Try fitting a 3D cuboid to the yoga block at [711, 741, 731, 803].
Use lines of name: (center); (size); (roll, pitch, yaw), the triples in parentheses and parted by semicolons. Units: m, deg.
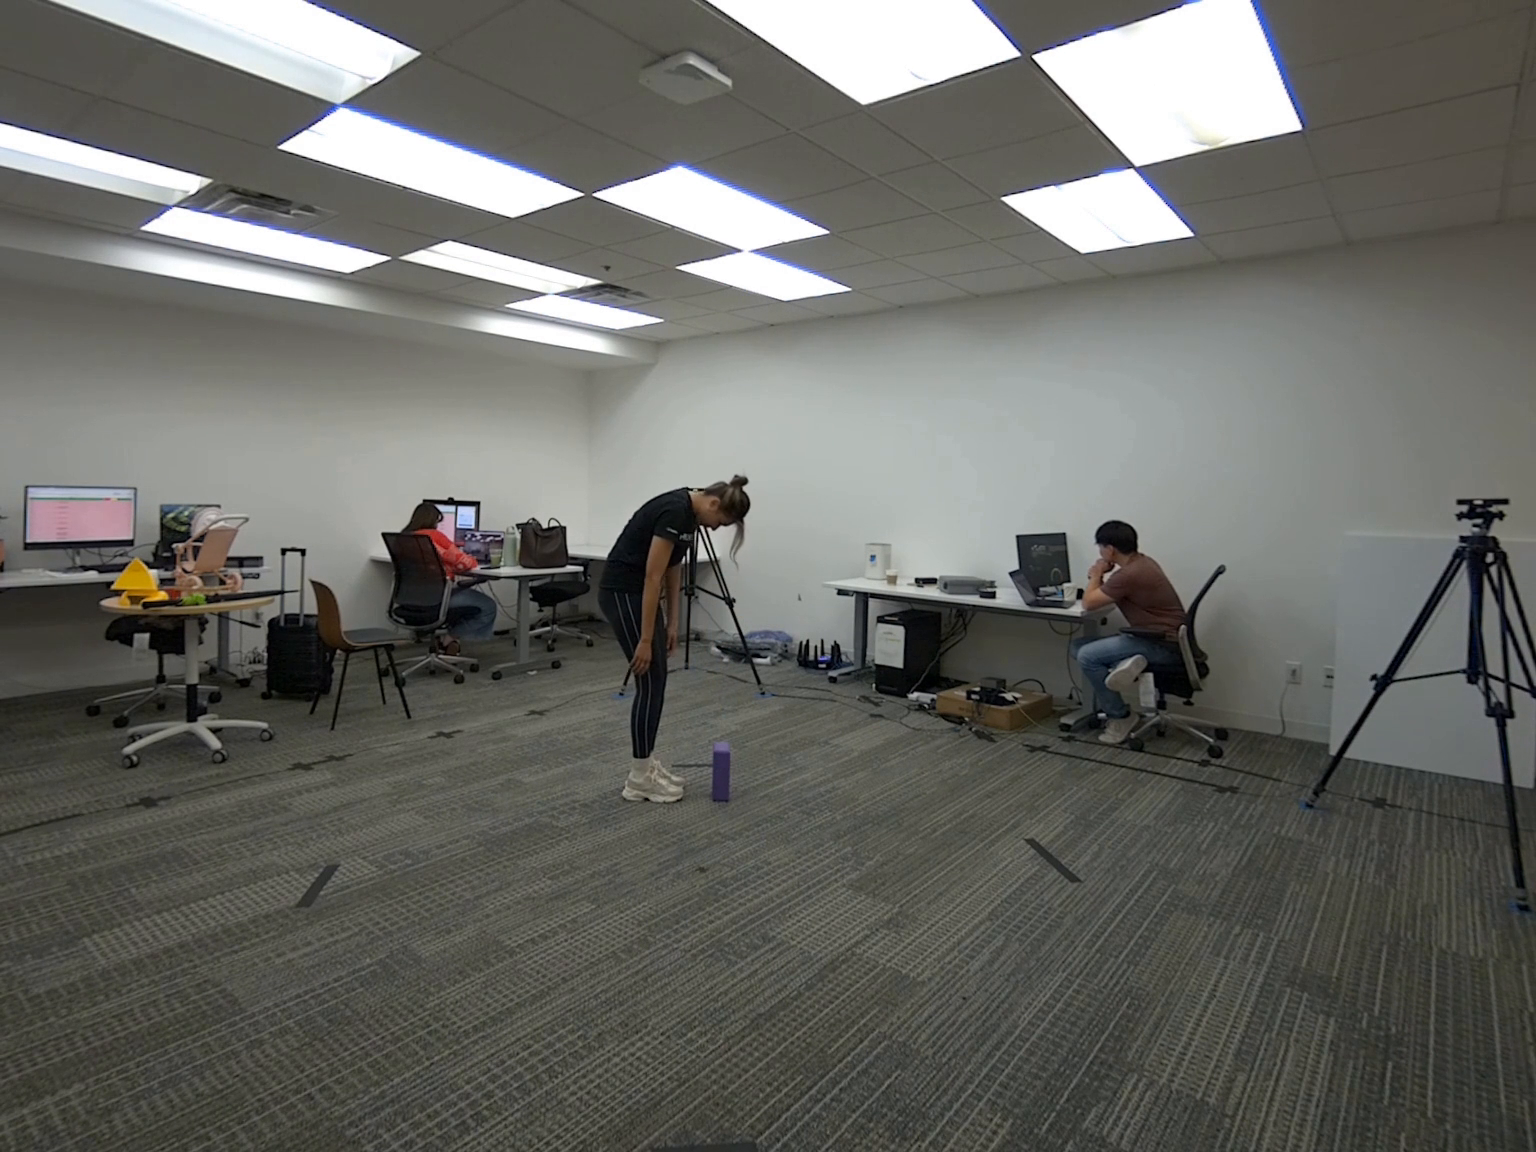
yoga block: (-0.221, 0.882, 3.856); (0.076, 0.228, 0.150); (0, 4, -6)
